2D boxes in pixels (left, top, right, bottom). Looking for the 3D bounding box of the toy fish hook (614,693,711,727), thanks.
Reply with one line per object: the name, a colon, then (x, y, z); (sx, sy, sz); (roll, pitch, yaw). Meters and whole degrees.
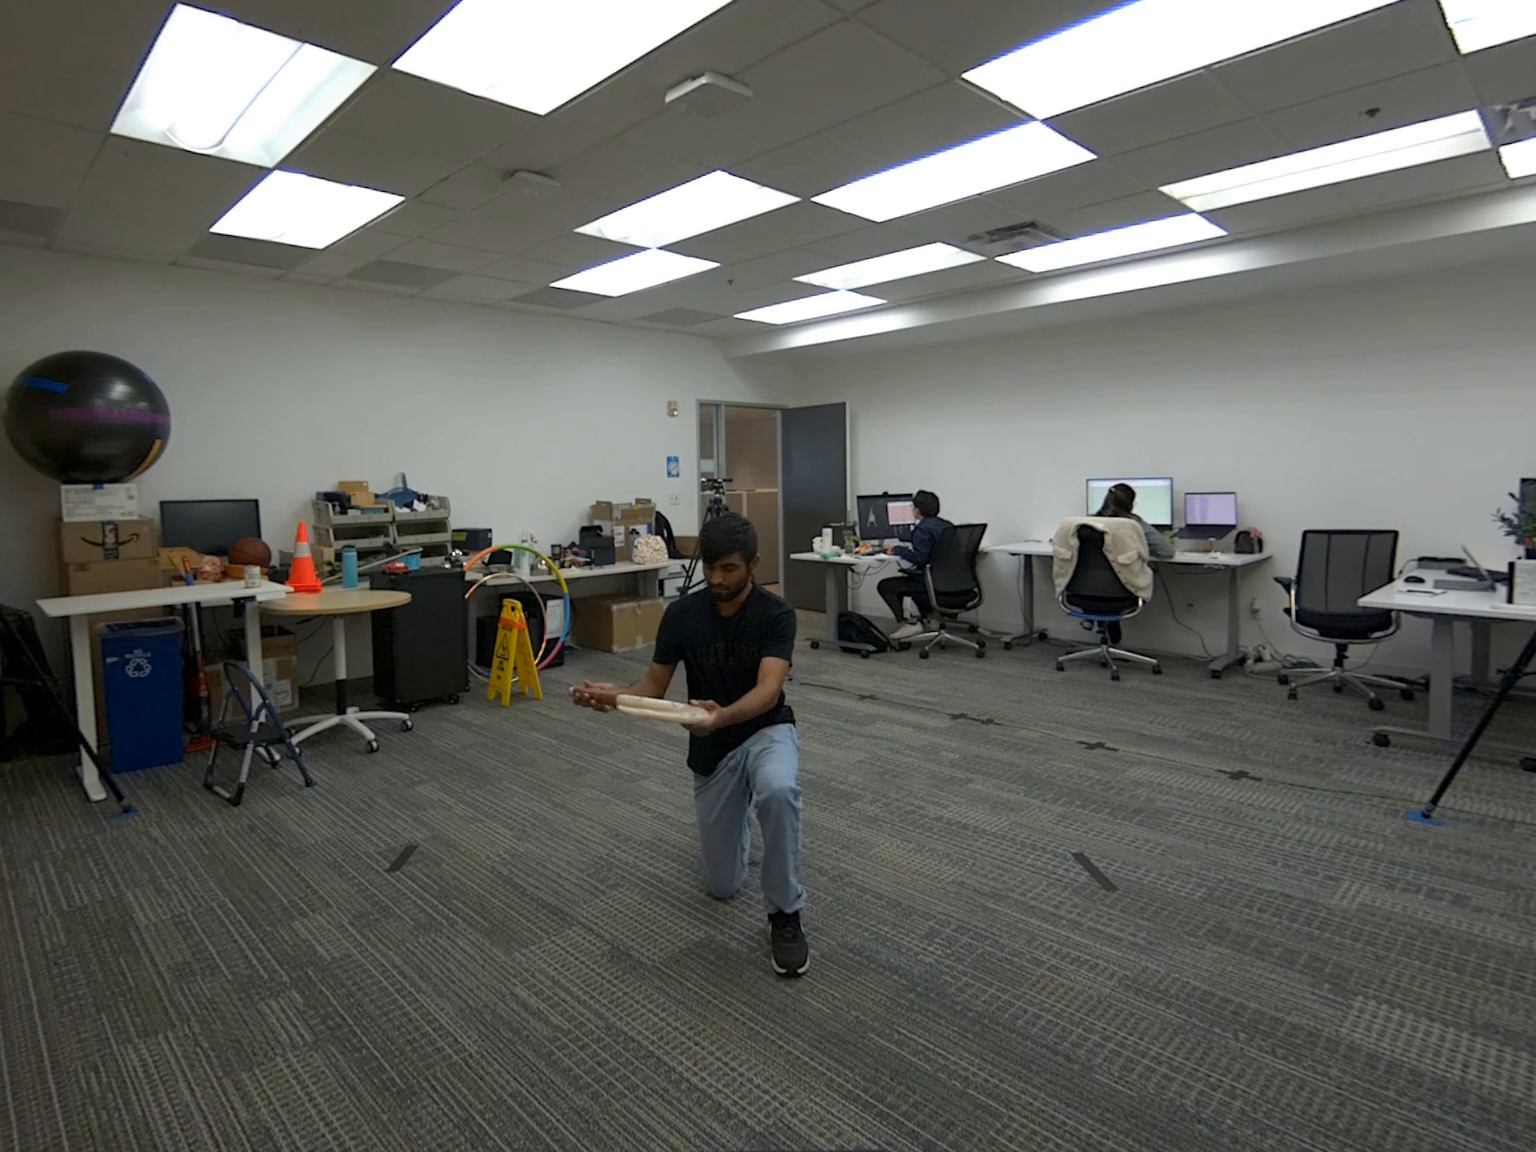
toy fish hook: (-0.379, 0.348, 2.334); (0.521, 0.048, 0.217); (3, -9, 33)
